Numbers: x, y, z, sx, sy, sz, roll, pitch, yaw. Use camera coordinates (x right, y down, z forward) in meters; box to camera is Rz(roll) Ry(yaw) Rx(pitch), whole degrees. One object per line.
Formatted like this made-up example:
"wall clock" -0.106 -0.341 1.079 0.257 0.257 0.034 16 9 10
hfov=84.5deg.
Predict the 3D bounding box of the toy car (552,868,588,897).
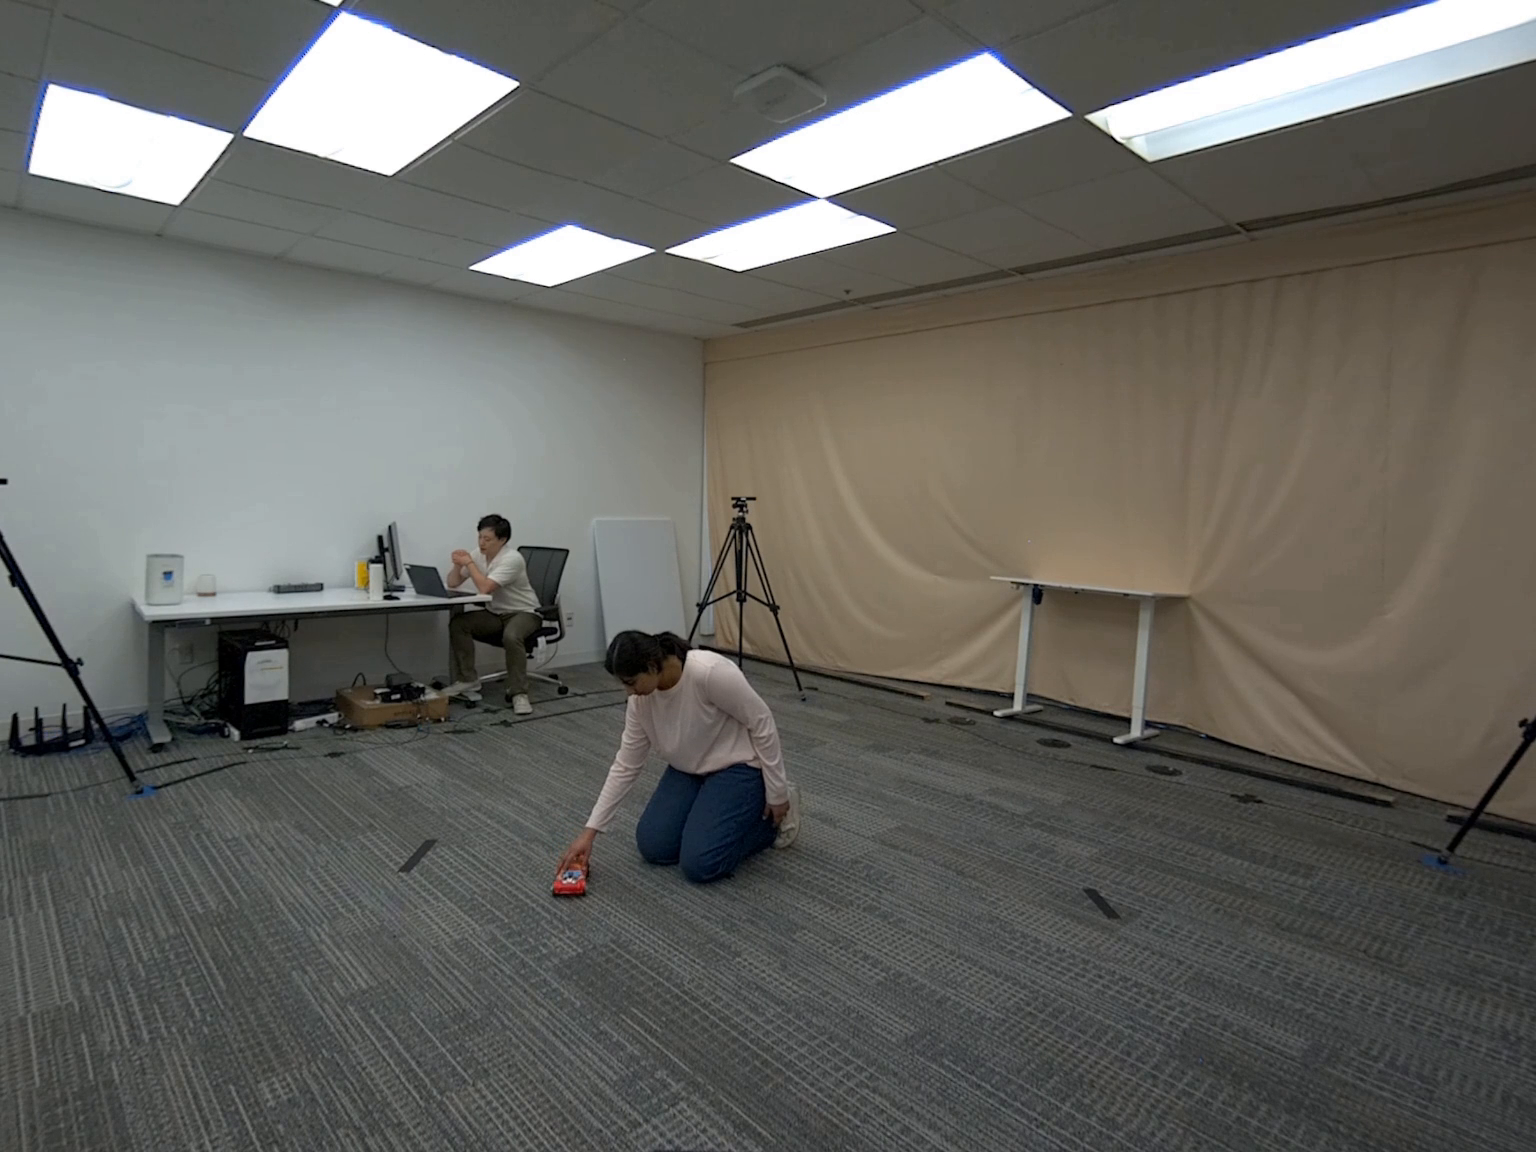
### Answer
"toy car" -0.713 1.070 3.019 0.130 0.082 0.258 1 17 -5
